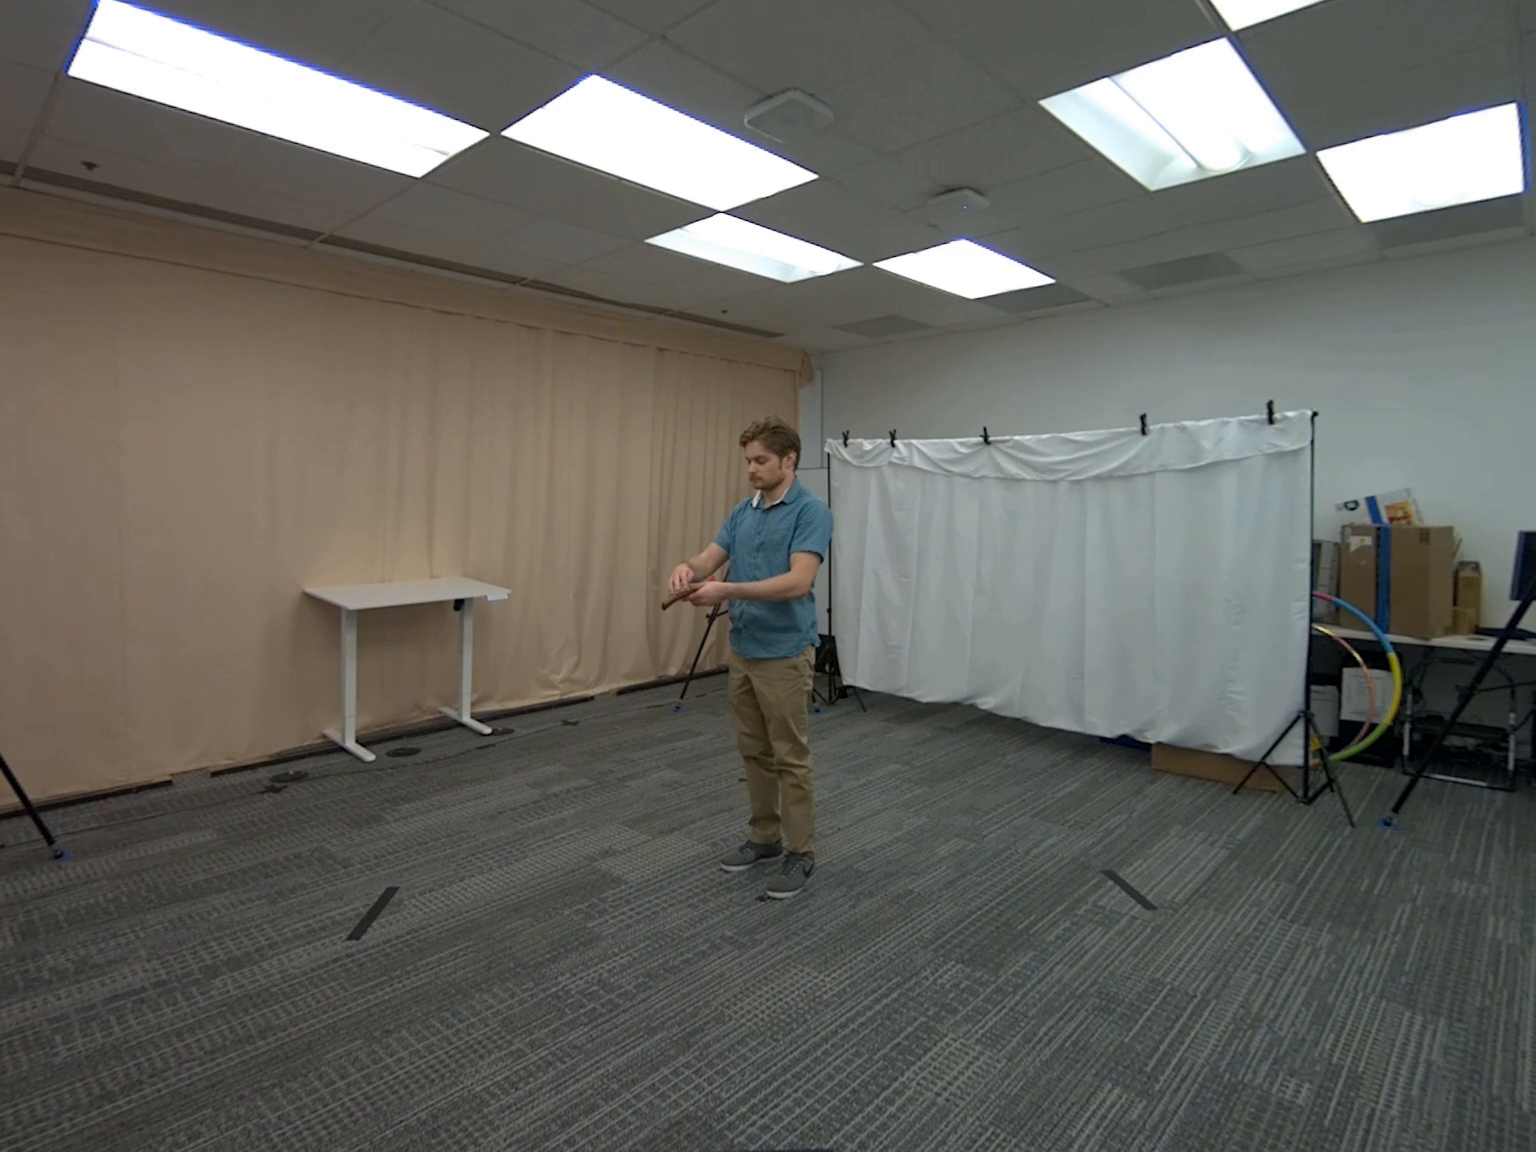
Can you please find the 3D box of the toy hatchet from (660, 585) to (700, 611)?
[{"bbox_3d":[-0.275,0.089,2.942,0.030,0.130,0.265,35,41,21],"label":"toy hatchet"}]
